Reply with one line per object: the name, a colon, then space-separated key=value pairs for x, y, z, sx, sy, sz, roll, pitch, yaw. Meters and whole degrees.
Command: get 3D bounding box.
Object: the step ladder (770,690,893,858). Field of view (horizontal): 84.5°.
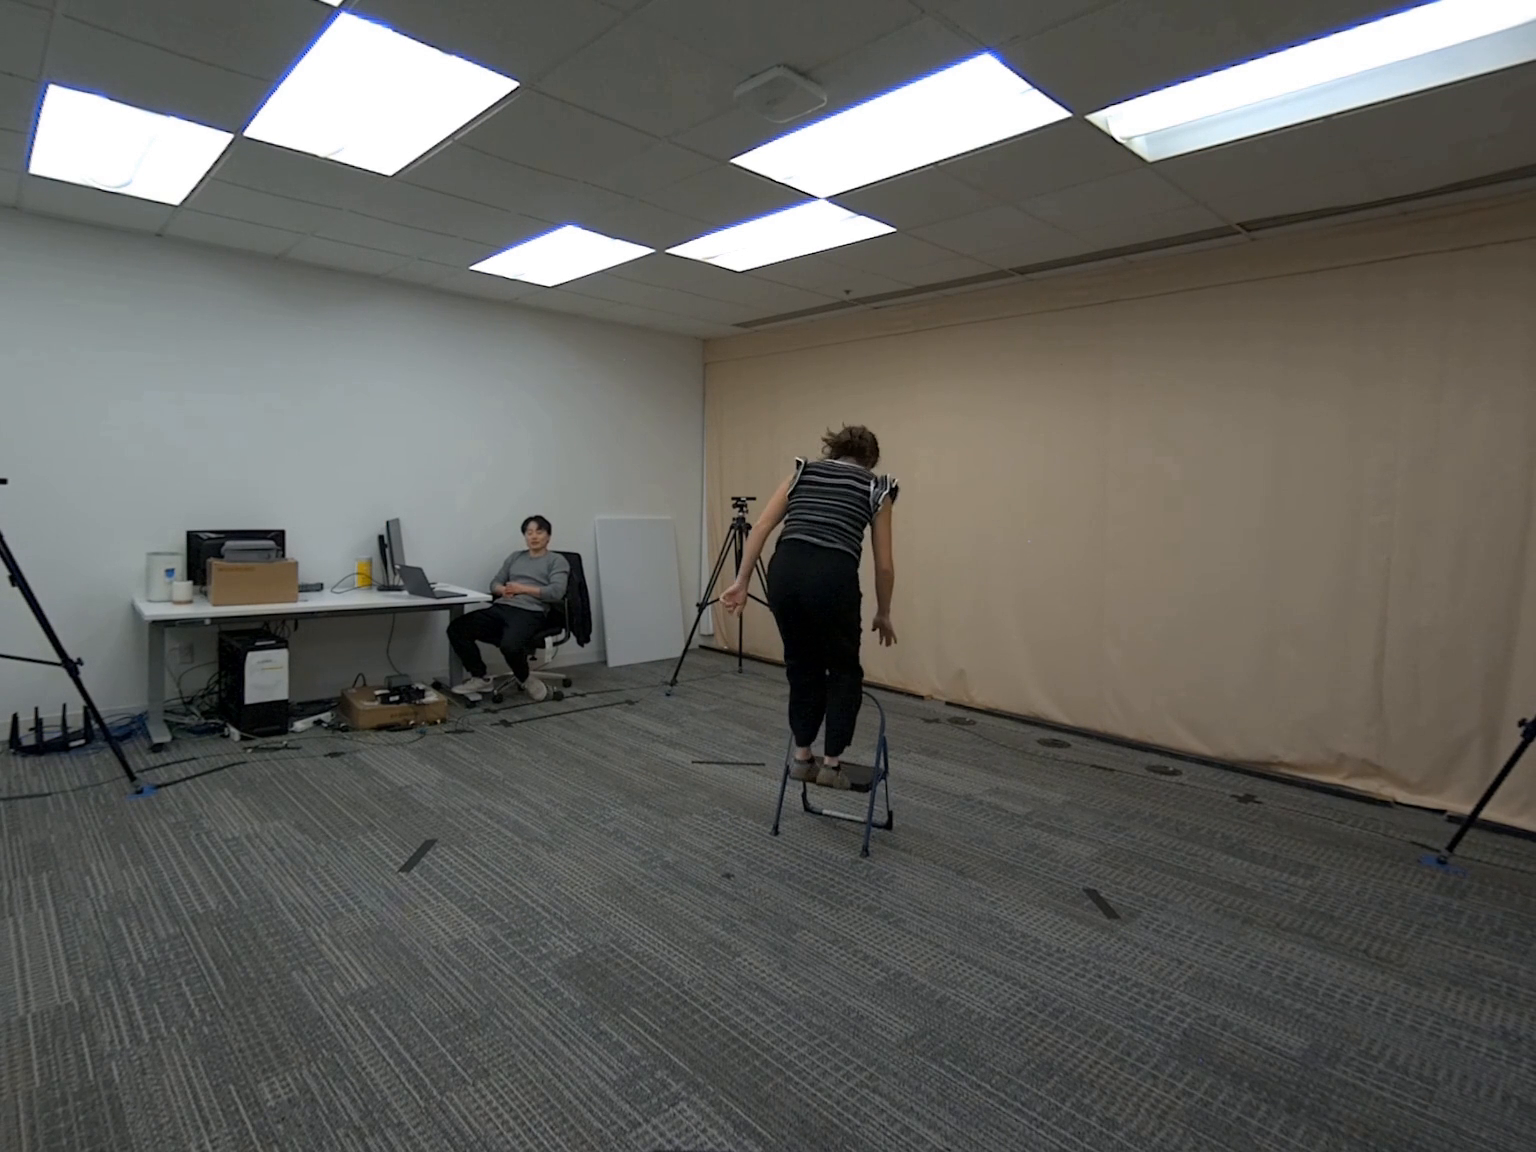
step ladder: x=0.279 y=0.778 z=3.538 sx=0.440 sy=0.605 sz=0.342 roll=3 pitch=3 yaw=28
